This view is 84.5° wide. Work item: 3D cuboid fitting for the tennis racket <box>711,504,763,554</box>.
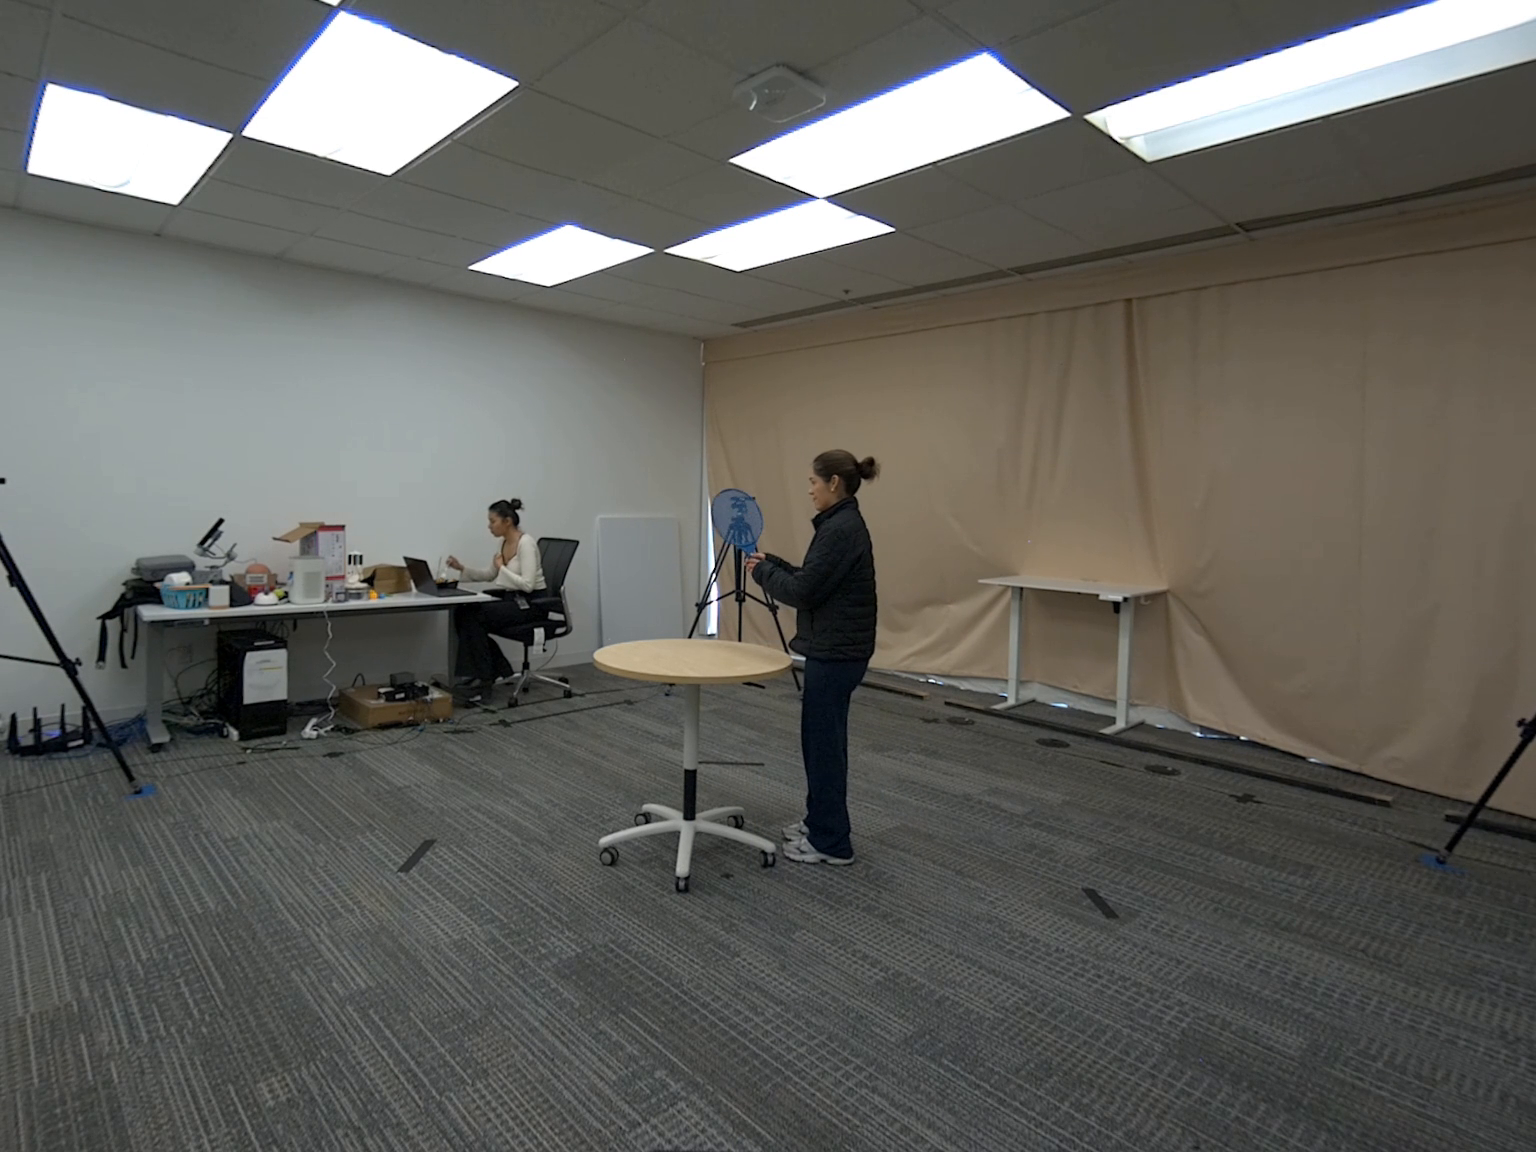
[{"bbox_3d":[-0.139,-0.012,3.297,0.031,0.430,0.220,8,13,-29],"label":"tennis racket"}]
